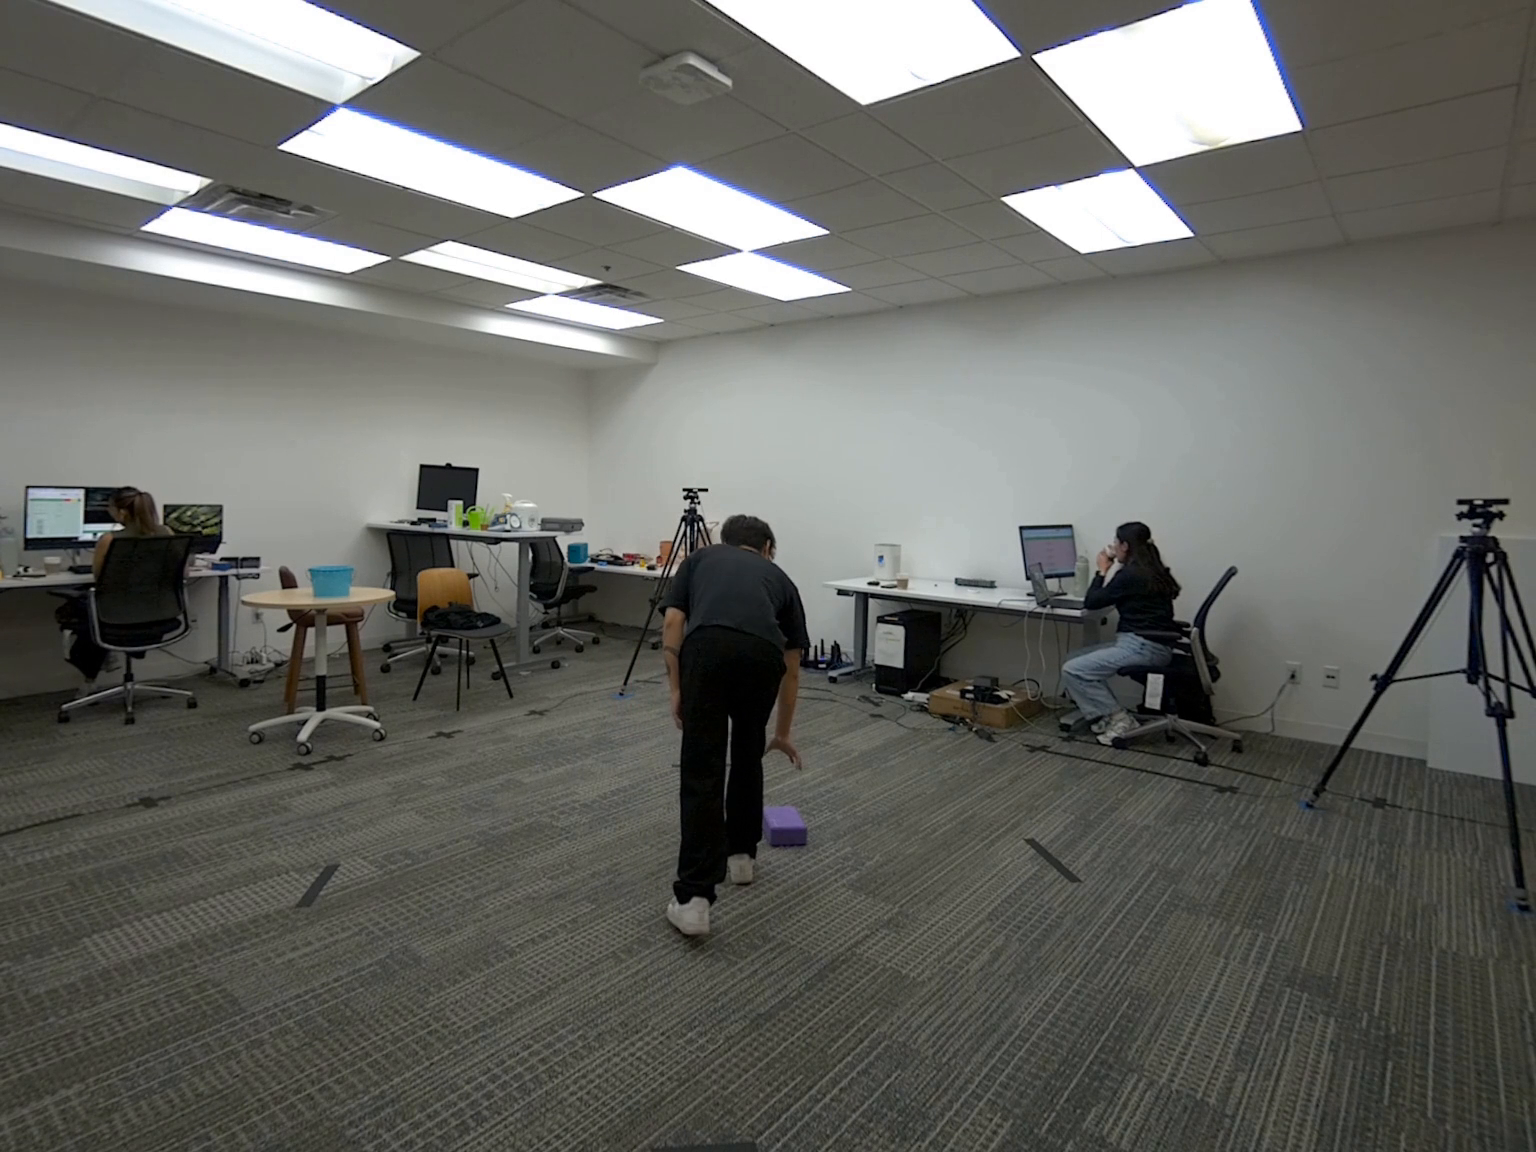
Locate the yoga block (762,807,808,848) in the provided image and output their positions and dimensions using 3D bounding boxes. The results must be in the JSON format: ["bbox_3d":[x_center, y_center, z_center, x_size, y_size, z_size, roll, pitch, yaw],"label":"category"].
[{"bbox_3d":[0.056,1.003,3.439,0.147,0.076,0.232,0,5,-10],"label":"yoga block"}]
